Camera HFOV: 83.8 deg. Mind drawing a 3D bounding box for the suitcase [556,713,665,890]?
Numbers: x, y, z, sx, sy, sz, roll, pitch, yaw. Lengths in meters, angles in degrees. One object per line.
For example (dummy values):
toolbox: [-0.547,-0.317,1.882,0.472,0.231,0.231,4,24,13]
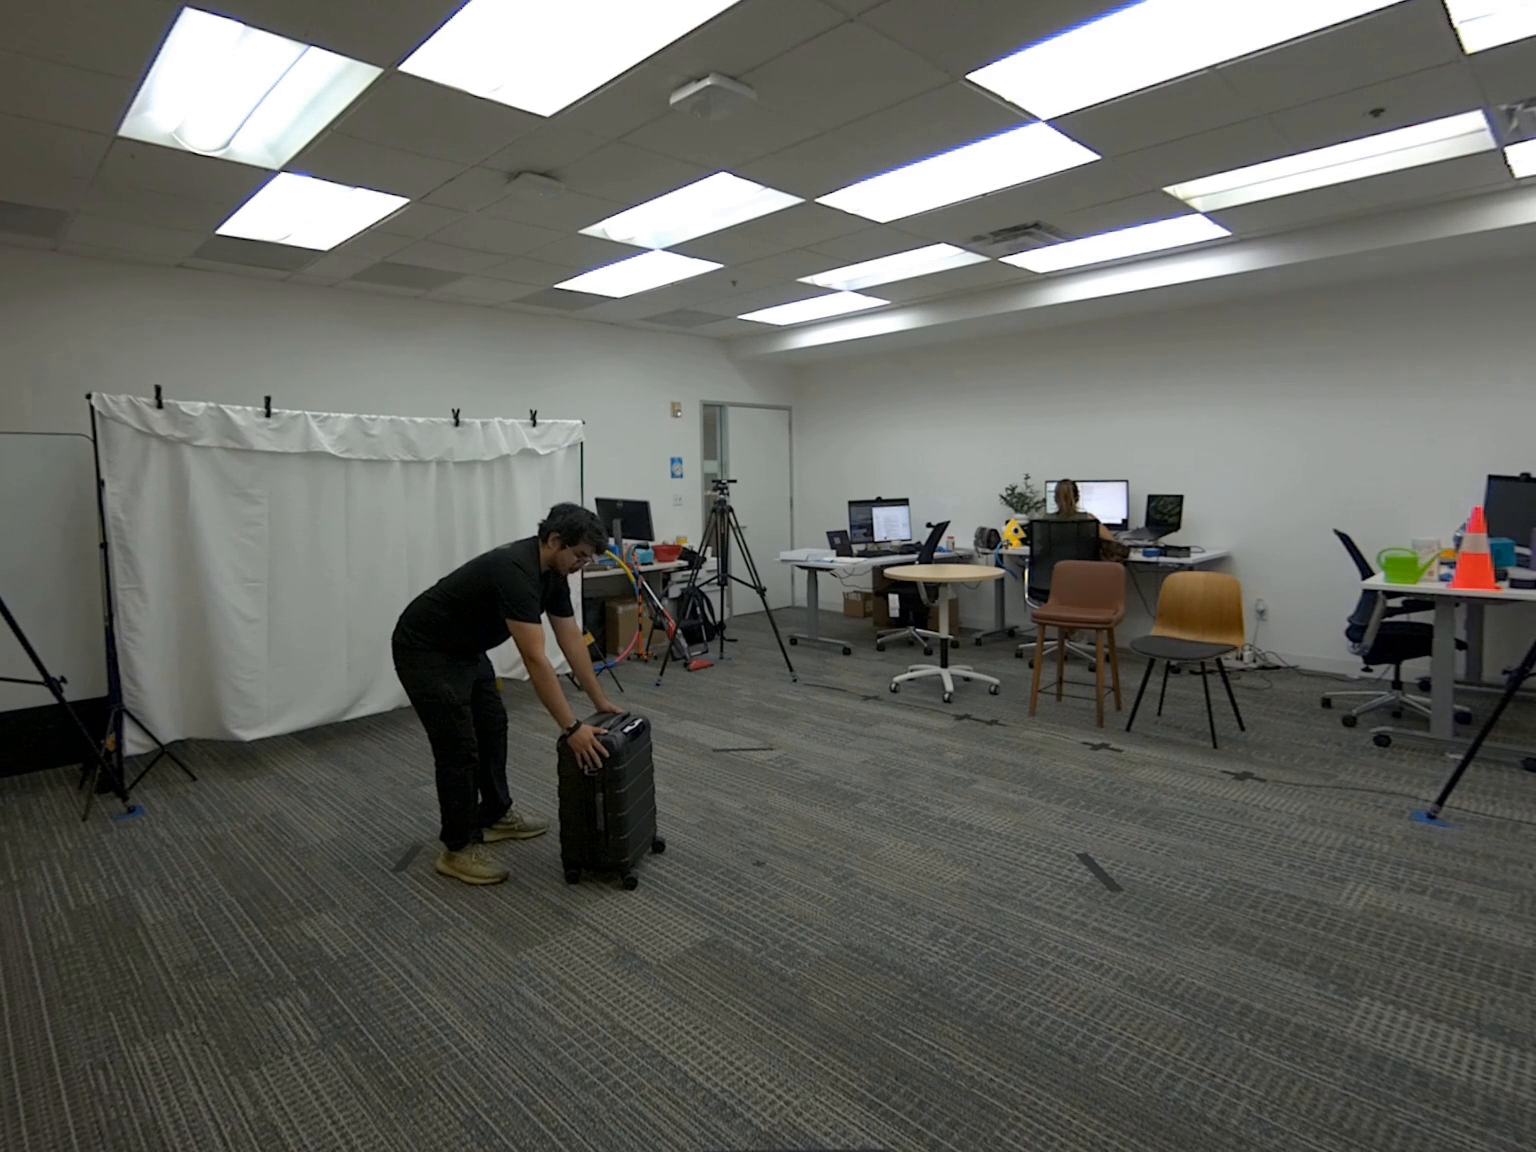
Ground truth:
suitcase: [-0.575,0.782,3.089,0.252,0.547,0.372,-3,4,14]
